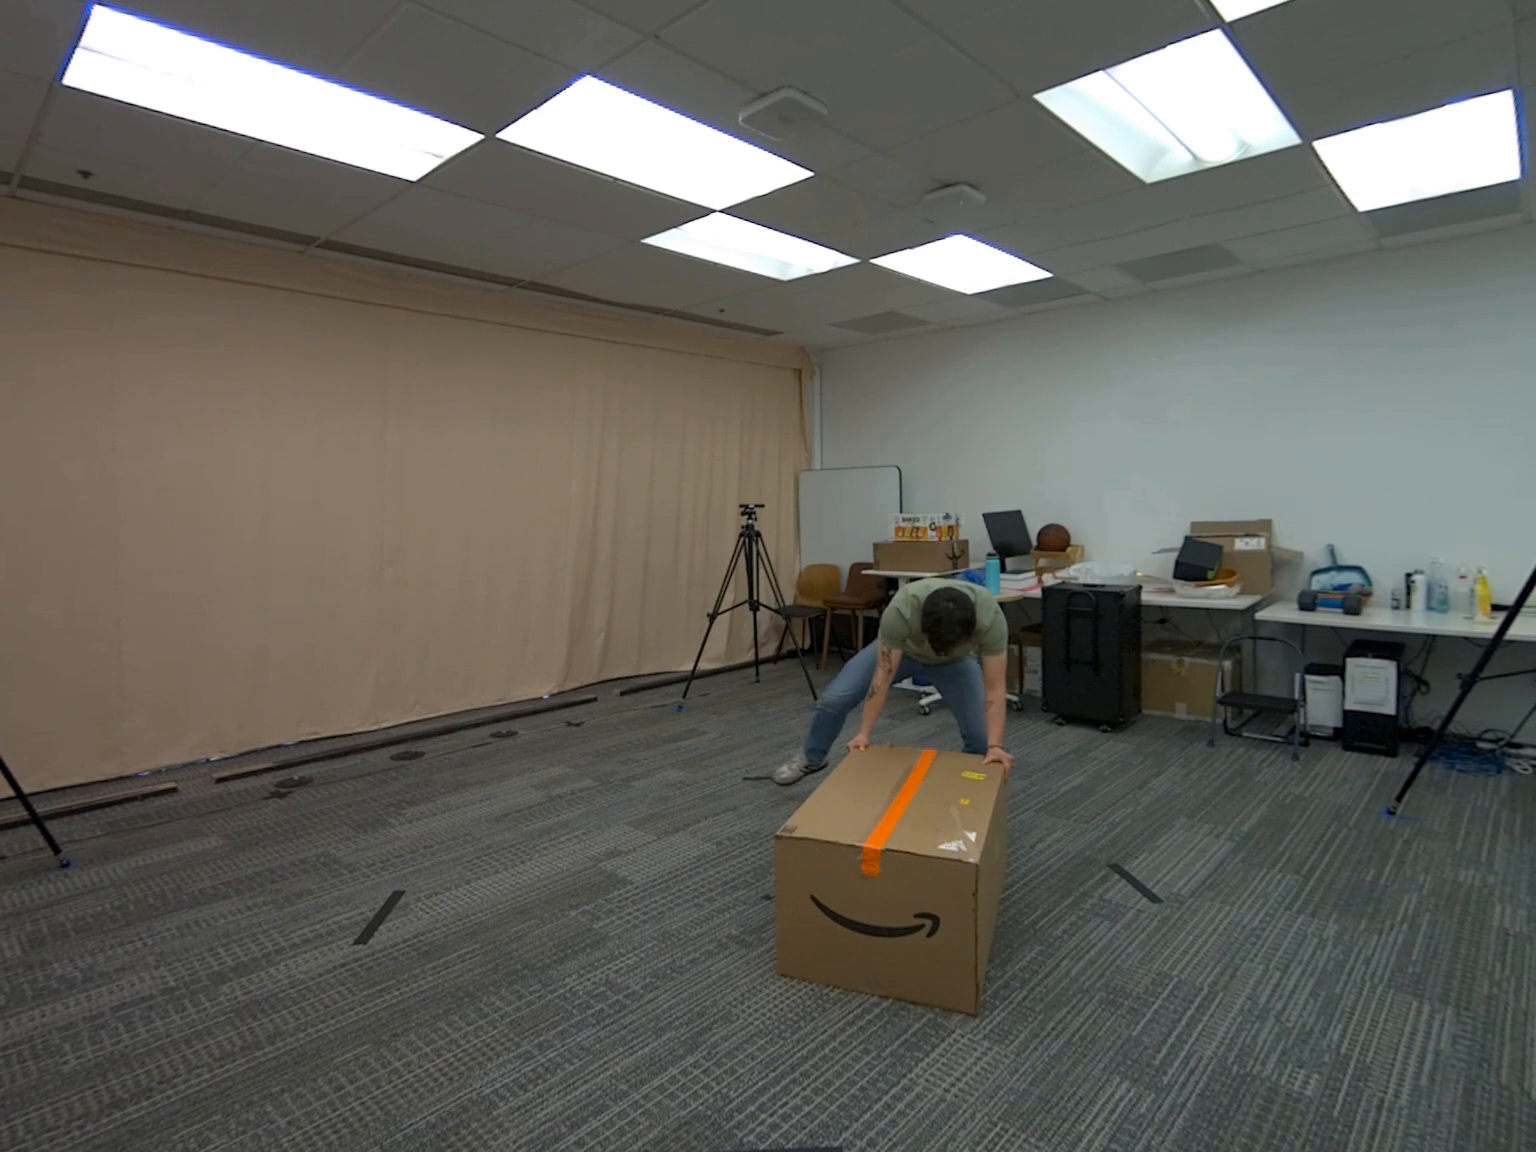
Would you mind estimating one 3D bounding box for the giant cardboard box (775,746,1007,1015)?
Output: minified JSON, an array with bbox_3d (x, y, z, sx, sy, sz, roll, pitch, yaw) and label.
[{"bbox_3d":[0.465,0.933,2.833,0.591,0.425,1.005,1,5,21],"label":"giant cardboard box"}]
